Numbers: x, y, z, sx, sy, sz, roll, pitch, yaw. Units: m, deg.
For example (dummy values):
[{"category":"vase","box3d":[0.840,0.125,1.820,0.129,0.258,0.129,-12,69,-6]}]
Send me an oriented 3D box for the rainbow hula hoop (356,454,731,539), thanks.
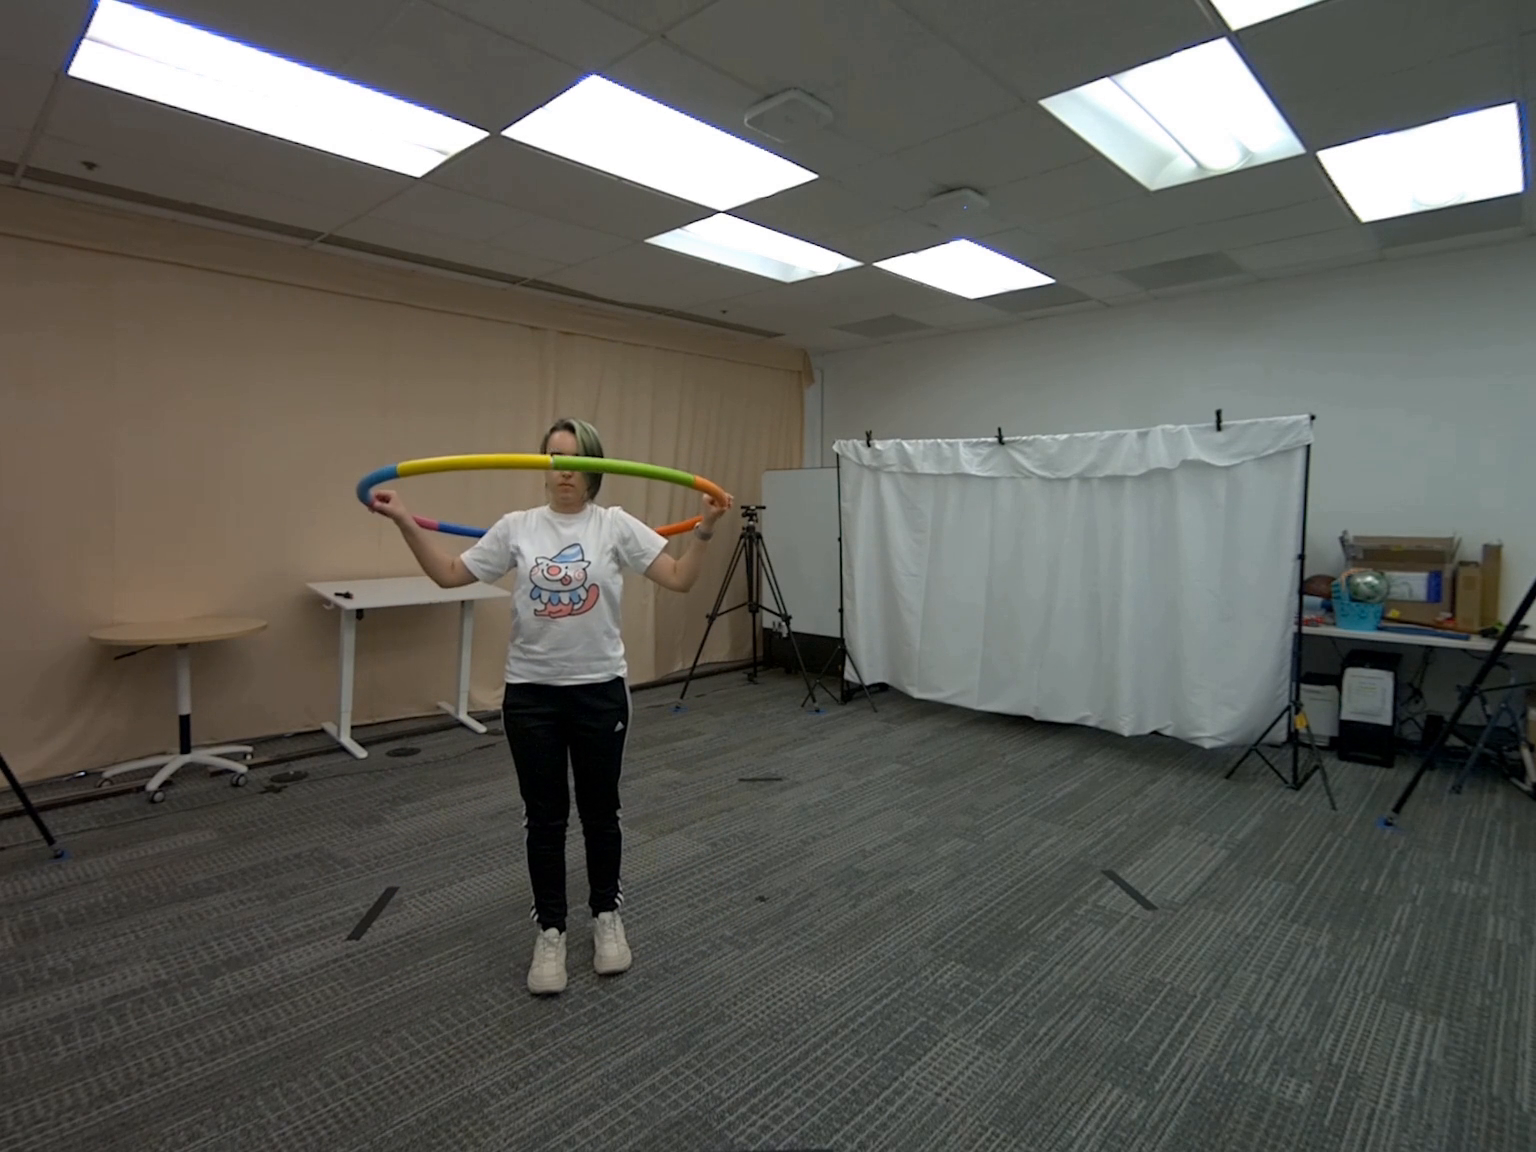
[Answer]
[{"category":"rainbow hula hoop","box3d":[-0.621,-0.190,2.342,0.984,0.052,0.981,0,-7,-2]}]
